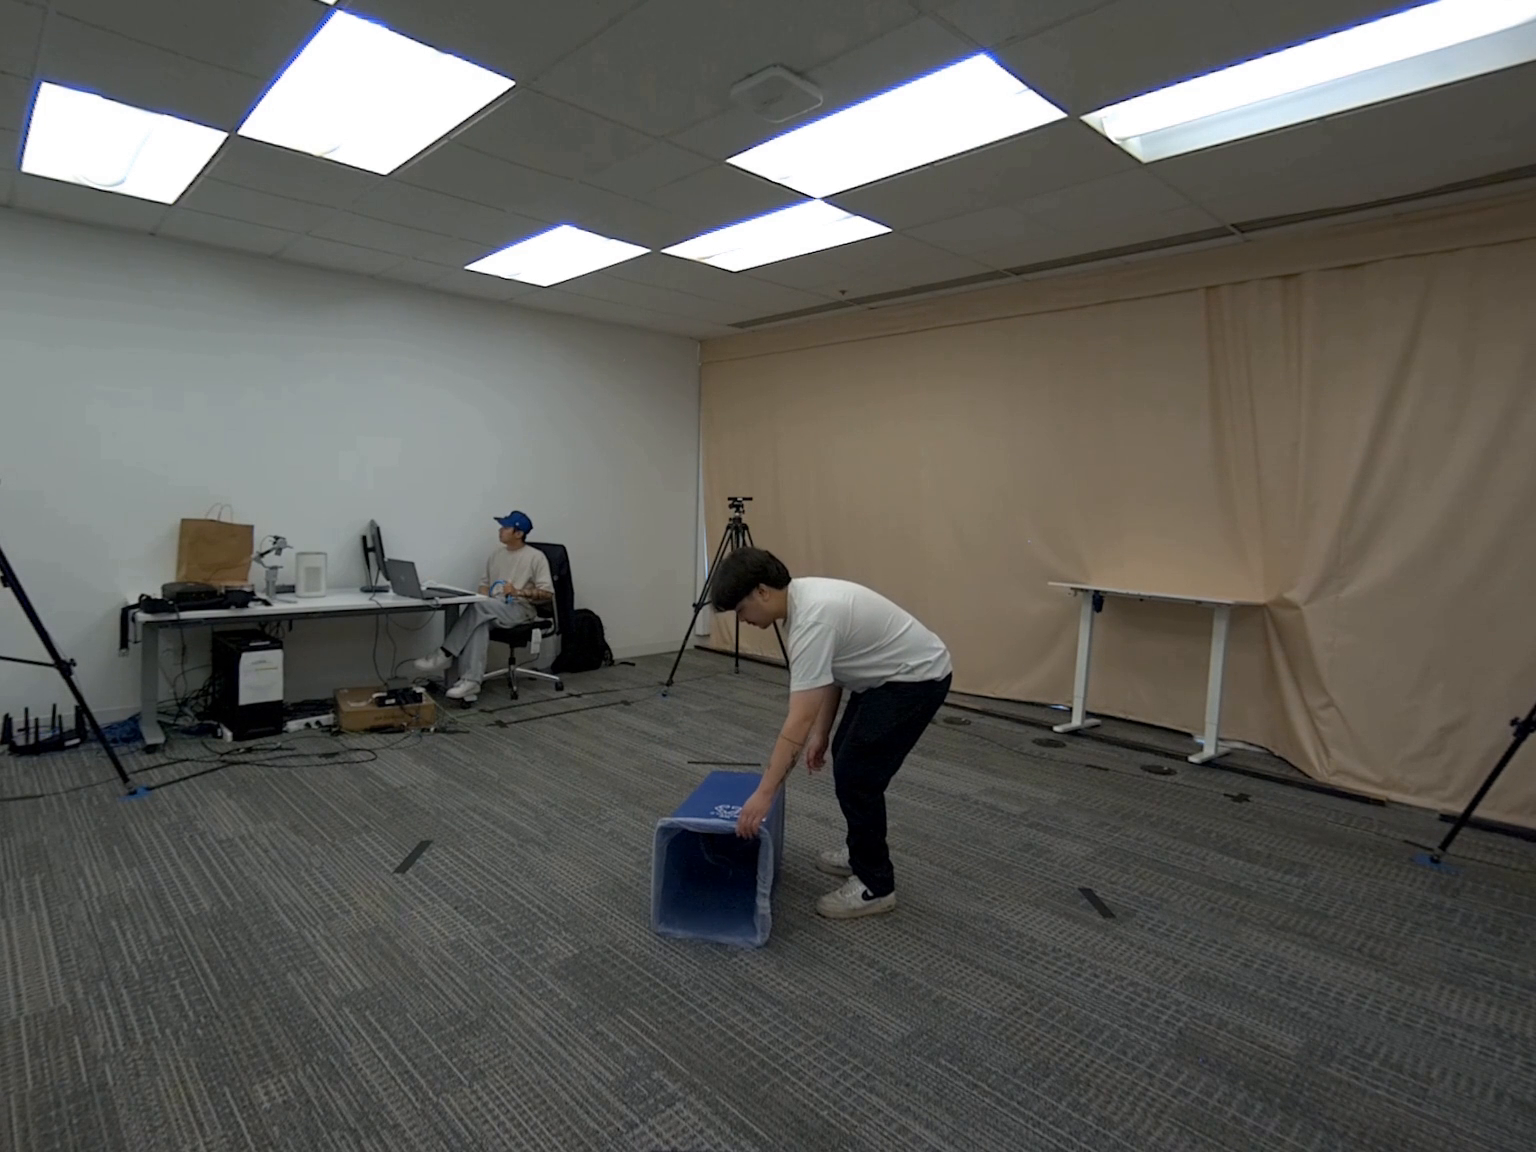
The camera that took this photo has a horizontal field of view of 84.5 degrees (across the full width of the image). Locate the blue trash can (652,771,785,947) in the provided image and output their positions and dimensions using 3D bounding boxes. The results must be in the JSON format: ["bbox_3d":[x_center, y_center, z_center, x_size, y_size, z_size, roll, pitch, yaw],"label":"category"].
[{"bbox_3d":[-0.145,0.953,2.984,0.376,0.378,0.709,1,2,7],"label":"blue trash can"}]
